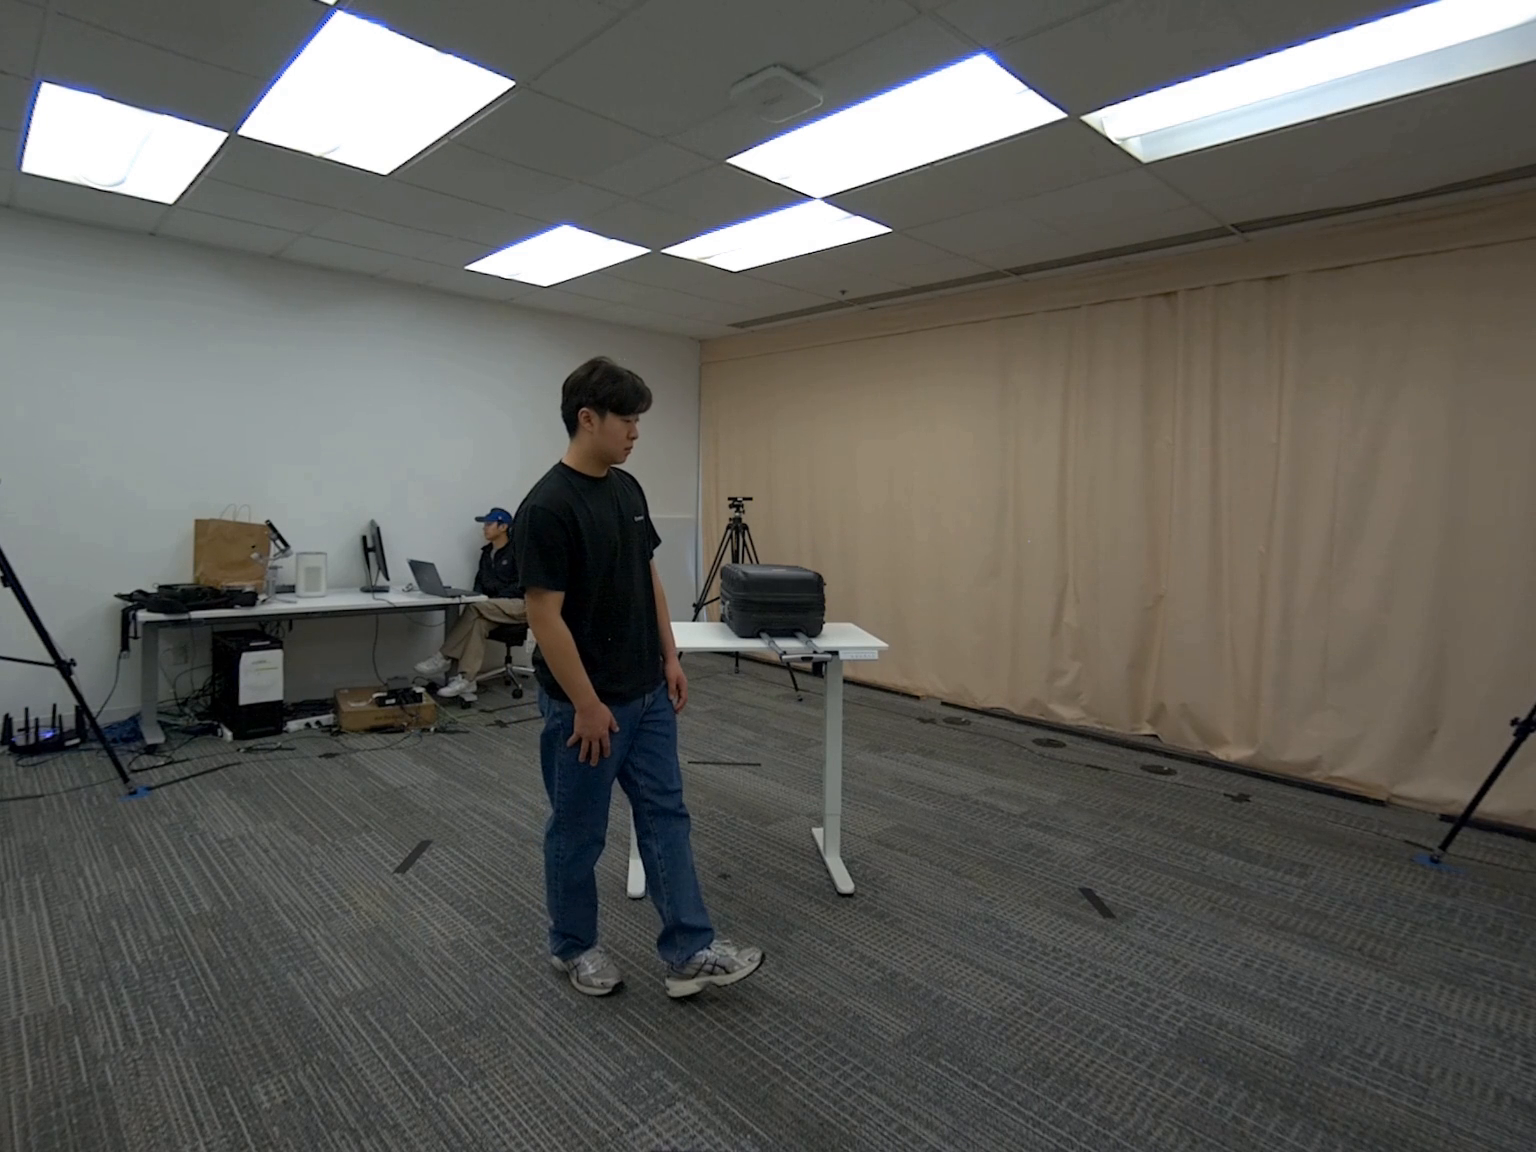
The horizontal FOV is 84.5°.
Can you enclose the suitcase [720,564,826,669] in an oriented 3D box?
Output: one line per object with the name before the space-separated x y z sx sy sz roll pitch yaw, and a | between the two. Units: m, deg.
suitcase | 0.036 0.105 3.095 0.381 0.257 0.986 1 3 -9
